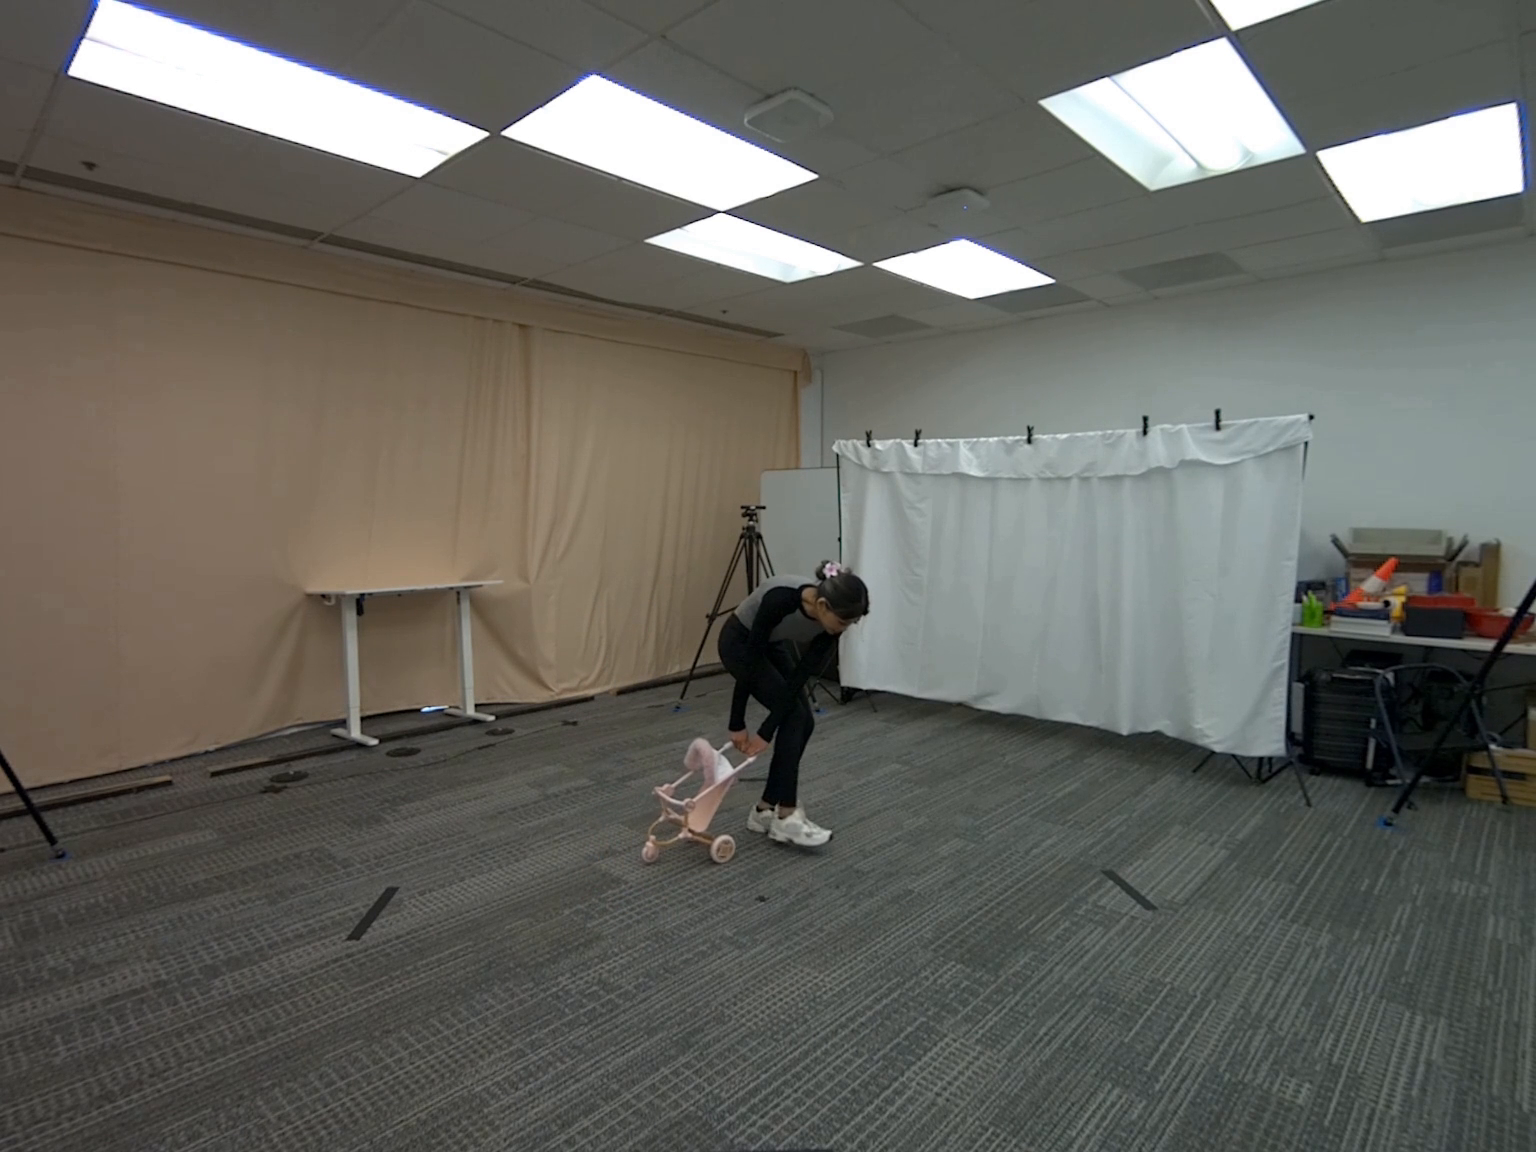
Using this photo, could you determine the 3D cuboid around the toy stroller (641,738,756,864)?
[{"bbox_3d":[-0.289,0.887,3.353,0.332,0.535,0.289,19,-4,-25],"label":"toy stroller"}]
